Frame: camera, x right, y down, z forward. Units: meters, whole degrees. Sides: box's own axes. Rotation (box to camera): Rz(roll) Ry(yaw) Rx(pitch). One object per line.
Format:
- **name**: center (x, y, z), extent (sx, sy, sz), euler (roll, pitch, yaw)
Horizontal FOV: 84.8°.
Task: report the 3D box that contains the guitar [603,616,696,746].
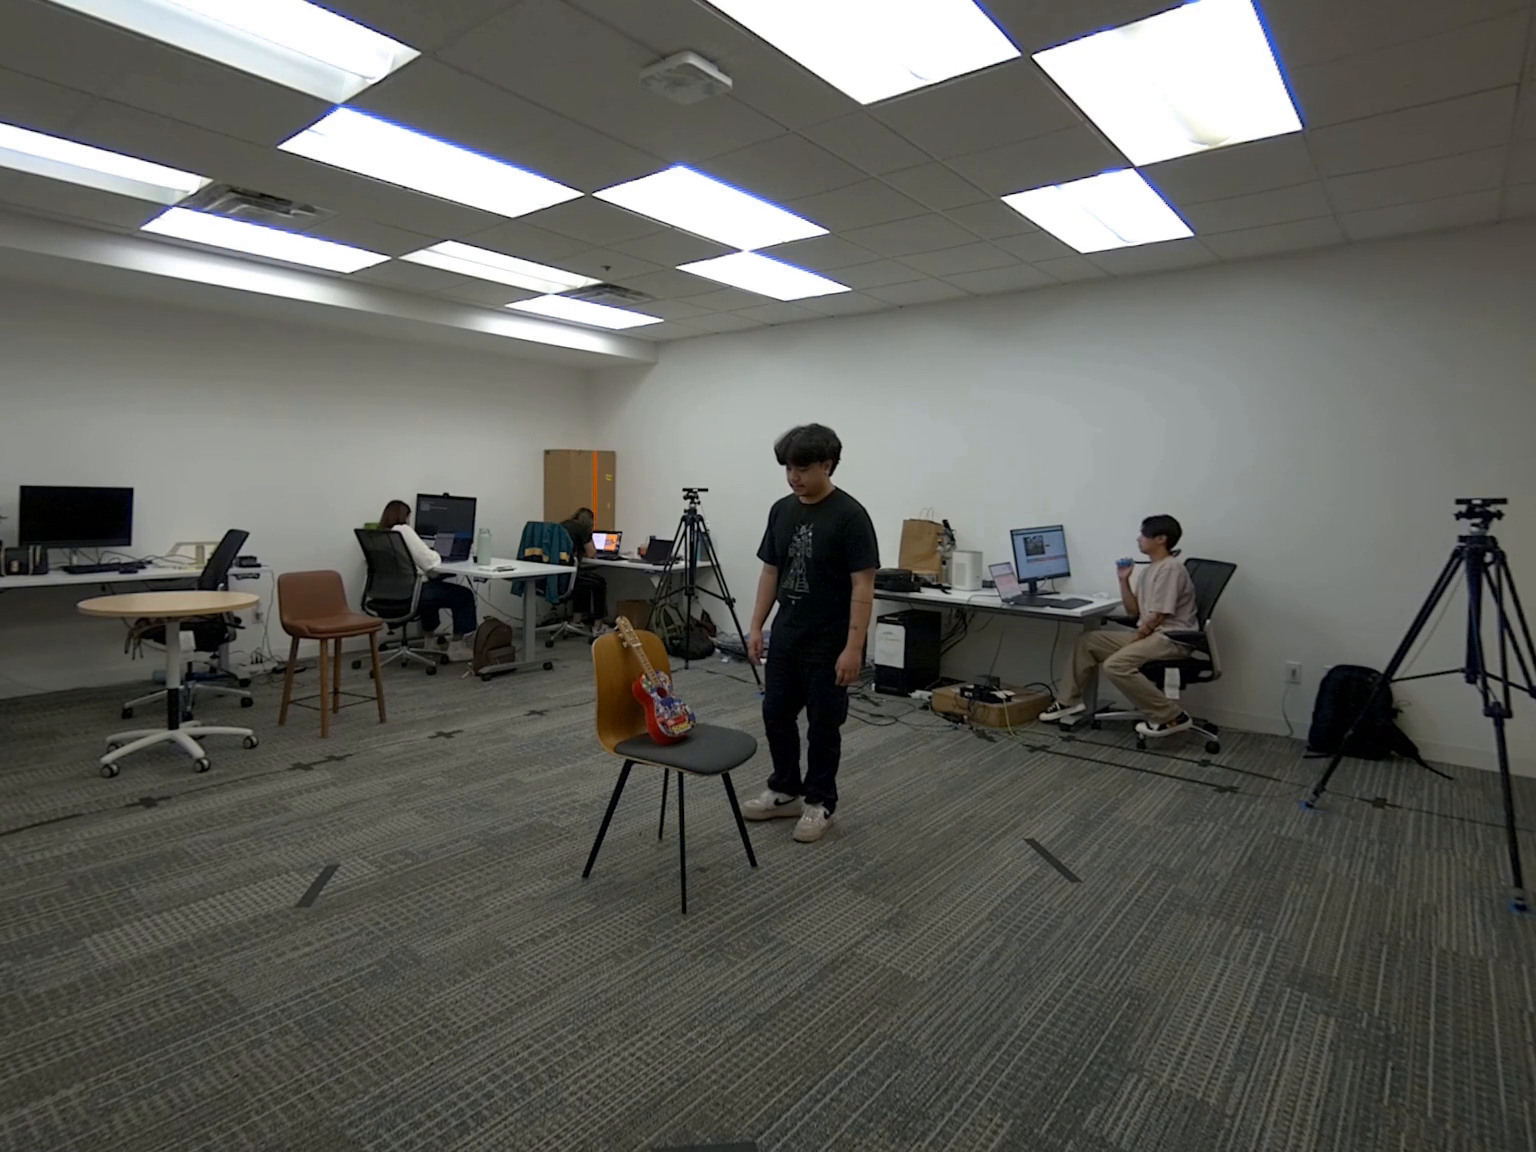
- **guitar**: center (-0.430, 0.374, 3.156), extent (0.071, 0.511, 0.187), euler (-41, -24, 32)
